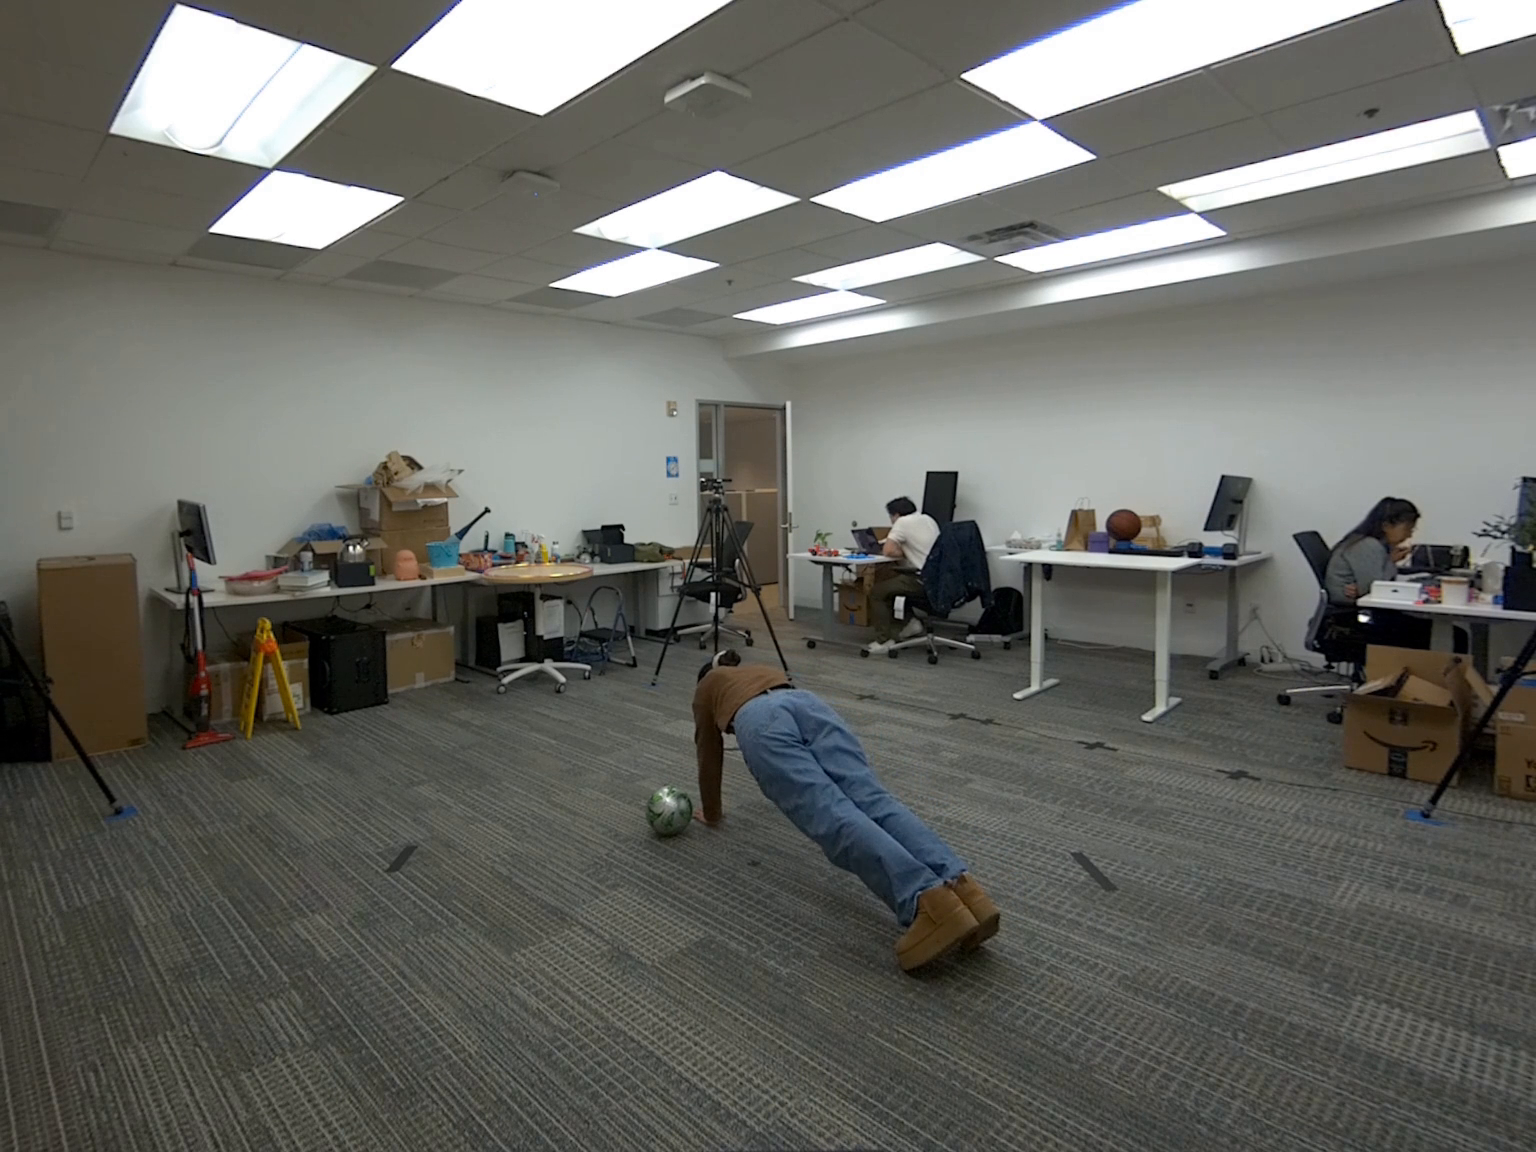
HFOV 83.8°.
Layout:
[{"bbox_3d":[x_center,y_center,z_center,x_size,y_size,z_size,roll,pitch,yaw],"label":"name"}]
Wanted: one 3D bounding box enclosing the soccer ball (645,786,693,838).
[{"bbox_3d":[-0.388,0.922,3.369,0.187,0.187,0.188,-1,5,-2],"label":"soccer ball"}]
